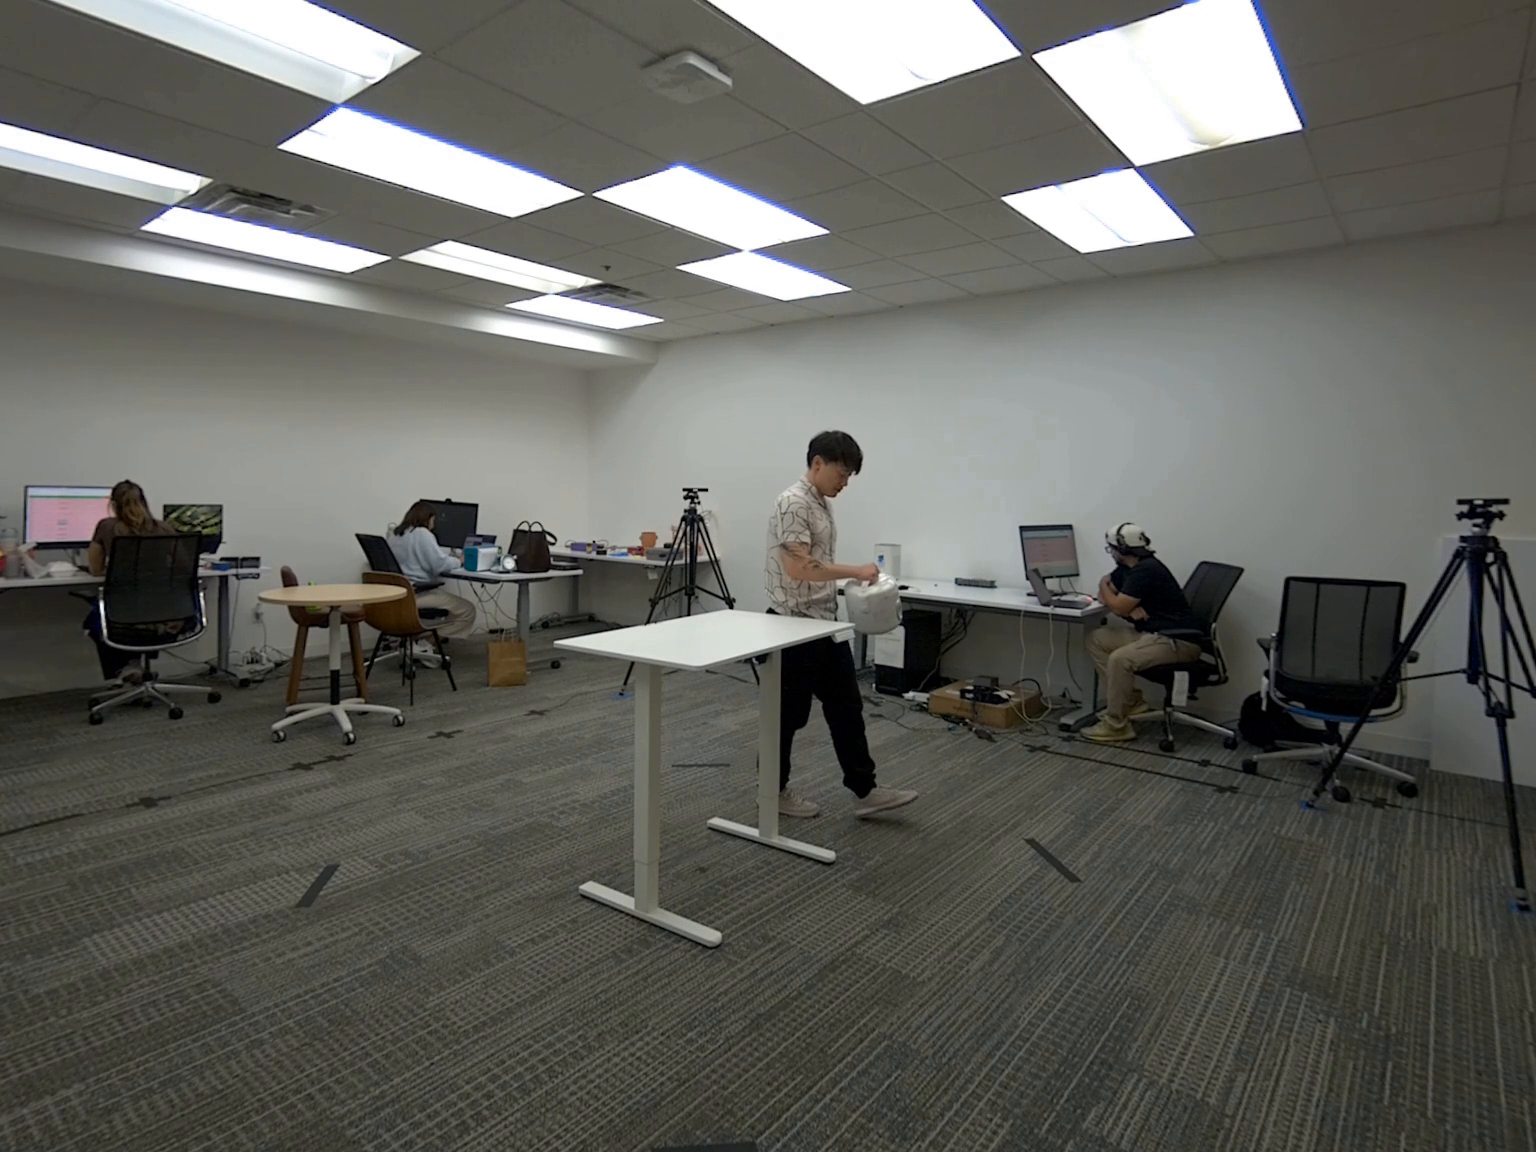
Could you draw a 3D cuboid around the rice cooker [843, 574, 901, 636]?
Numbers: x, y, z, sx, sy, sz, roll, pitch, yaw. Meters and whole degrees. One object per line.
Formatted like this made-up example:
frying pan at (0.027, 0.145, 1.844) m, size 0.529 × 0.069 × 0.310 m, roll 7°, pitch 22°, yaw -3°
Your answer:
rice cooker at (0.417, 0.095, 3.416) m, size 0.223 × 0.228 × 0.220 m, roll -1°, pitch 21°, yaw 26°
